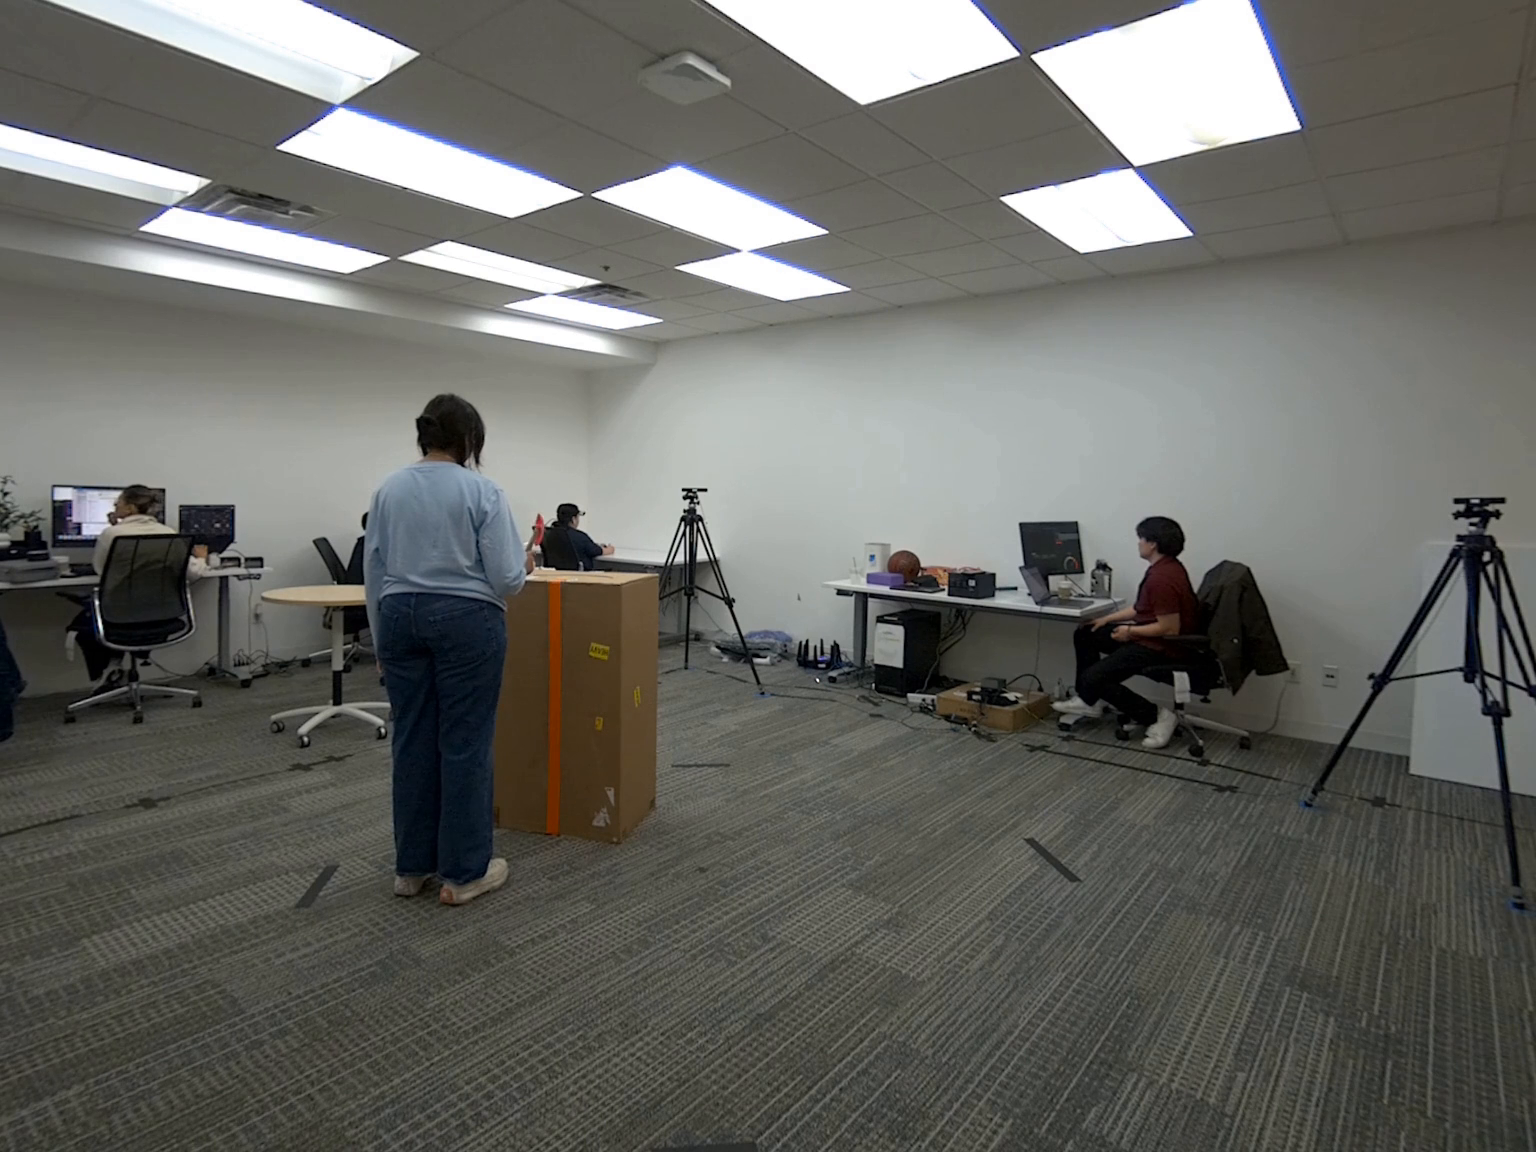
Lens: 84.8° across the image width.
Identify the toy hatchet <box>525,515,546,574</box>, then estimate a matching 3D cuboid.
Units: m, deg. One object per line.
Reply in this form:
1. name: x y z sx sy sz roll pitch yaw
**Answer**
1. toy hatchet: -0.918 -0.113 3.252 0.029 0.276 0.128 9 -35 -5
